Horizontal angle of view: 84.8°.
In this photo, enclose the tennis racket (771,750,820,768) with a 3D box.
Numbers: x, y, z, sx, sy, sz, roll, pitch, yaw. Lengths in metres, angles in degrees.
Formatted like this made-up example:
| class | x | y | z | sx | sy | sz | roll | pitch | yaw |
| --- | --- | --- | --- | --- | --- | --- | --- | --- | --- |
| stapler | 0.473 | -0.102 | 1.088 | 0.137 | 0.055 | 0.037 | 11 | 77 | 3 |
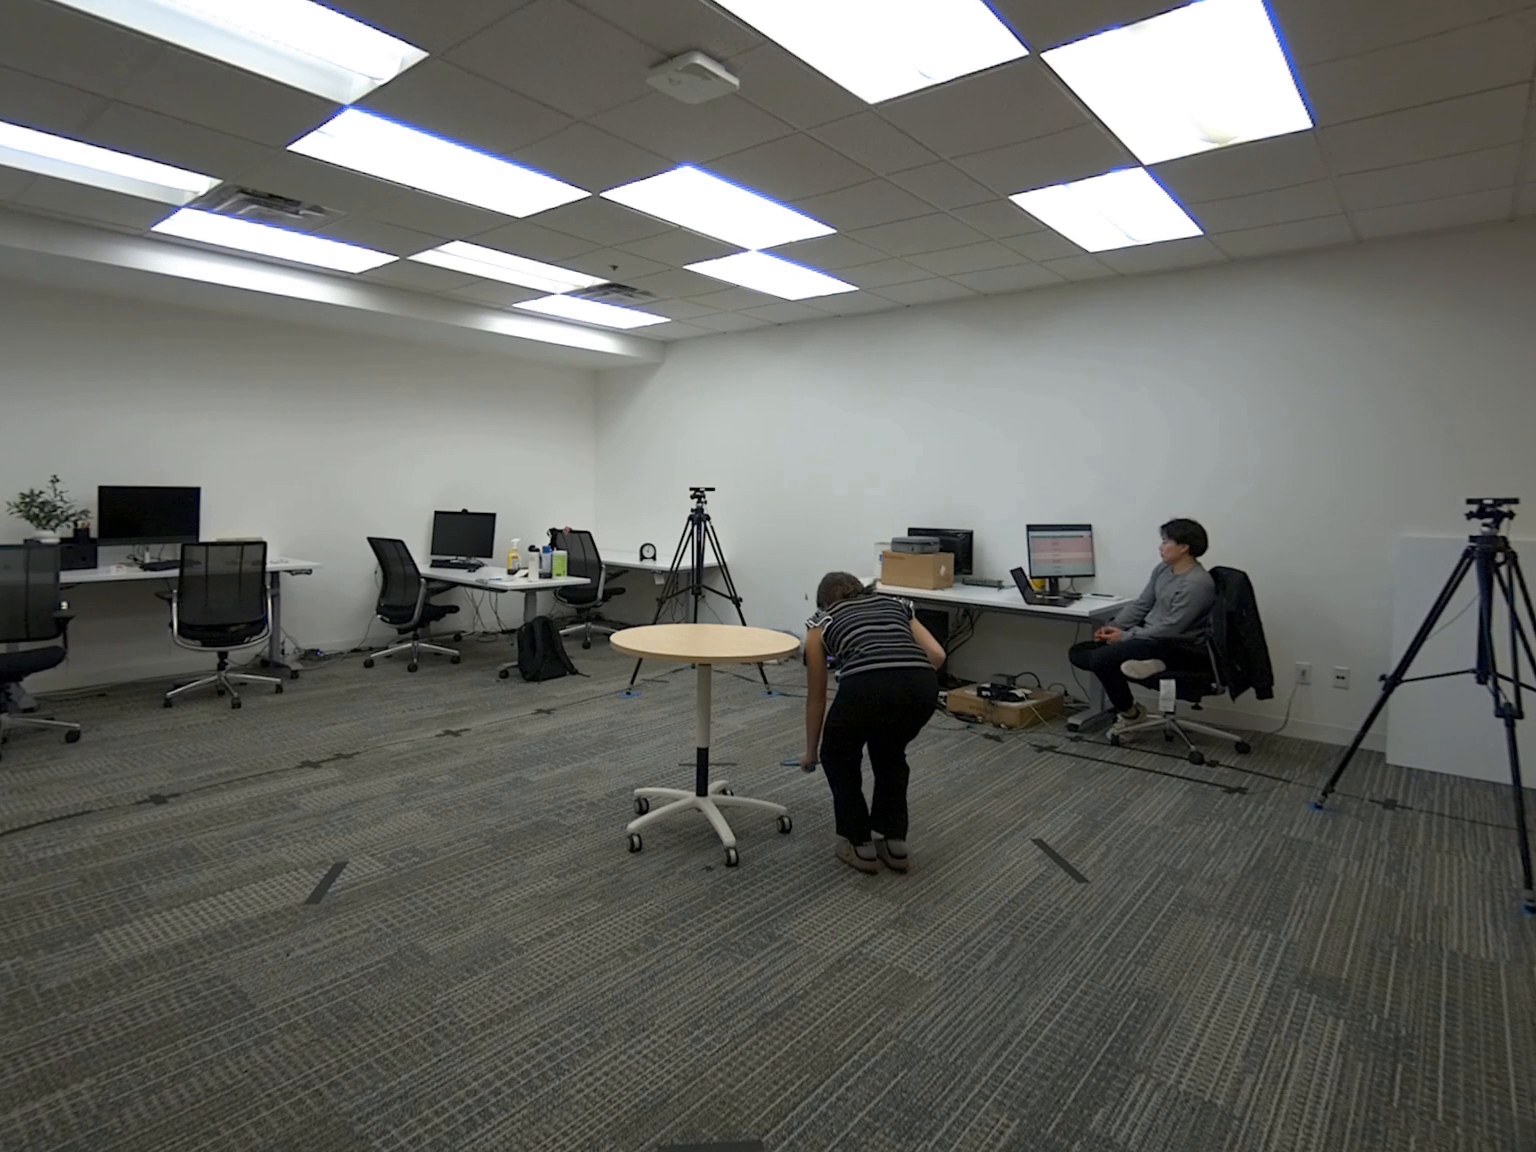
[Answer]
| class | x | y | z | sx | sy | sz | roll | pitch | yaw |
| --- | --- | --- | --- | --- | --- | --- | --- | --- | --- |
| tennis racket | 0.138 | 0.783 | 3.632 | 0.213 | 0.032 | 0.430 | -4 | -8 | -4 |
